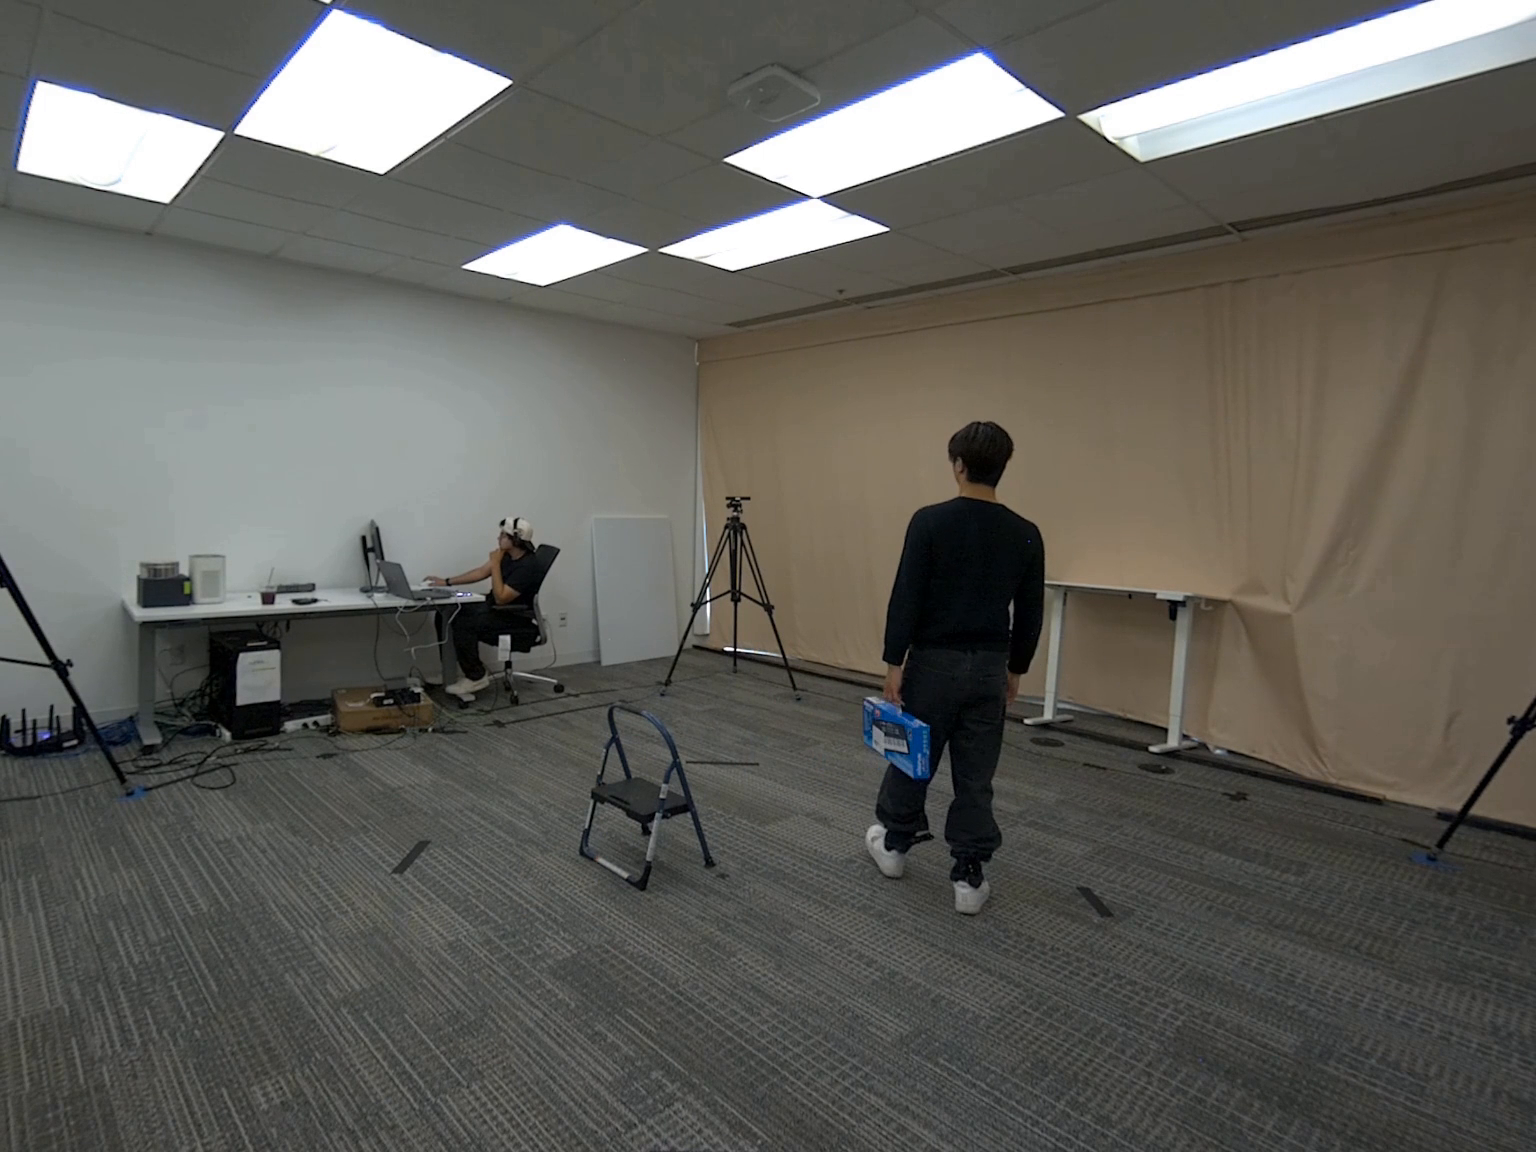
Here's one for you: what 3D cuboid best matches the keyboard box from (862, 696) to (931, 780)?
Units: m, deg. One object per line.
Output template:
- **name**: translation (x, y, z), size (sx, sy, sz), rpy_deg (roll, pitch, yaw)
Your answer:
- **keyboard box**: translation (0.434, 0.558, 2.947), size (0.058, 0.175, 0.442), rpy_deg (-2, 4, -15)
